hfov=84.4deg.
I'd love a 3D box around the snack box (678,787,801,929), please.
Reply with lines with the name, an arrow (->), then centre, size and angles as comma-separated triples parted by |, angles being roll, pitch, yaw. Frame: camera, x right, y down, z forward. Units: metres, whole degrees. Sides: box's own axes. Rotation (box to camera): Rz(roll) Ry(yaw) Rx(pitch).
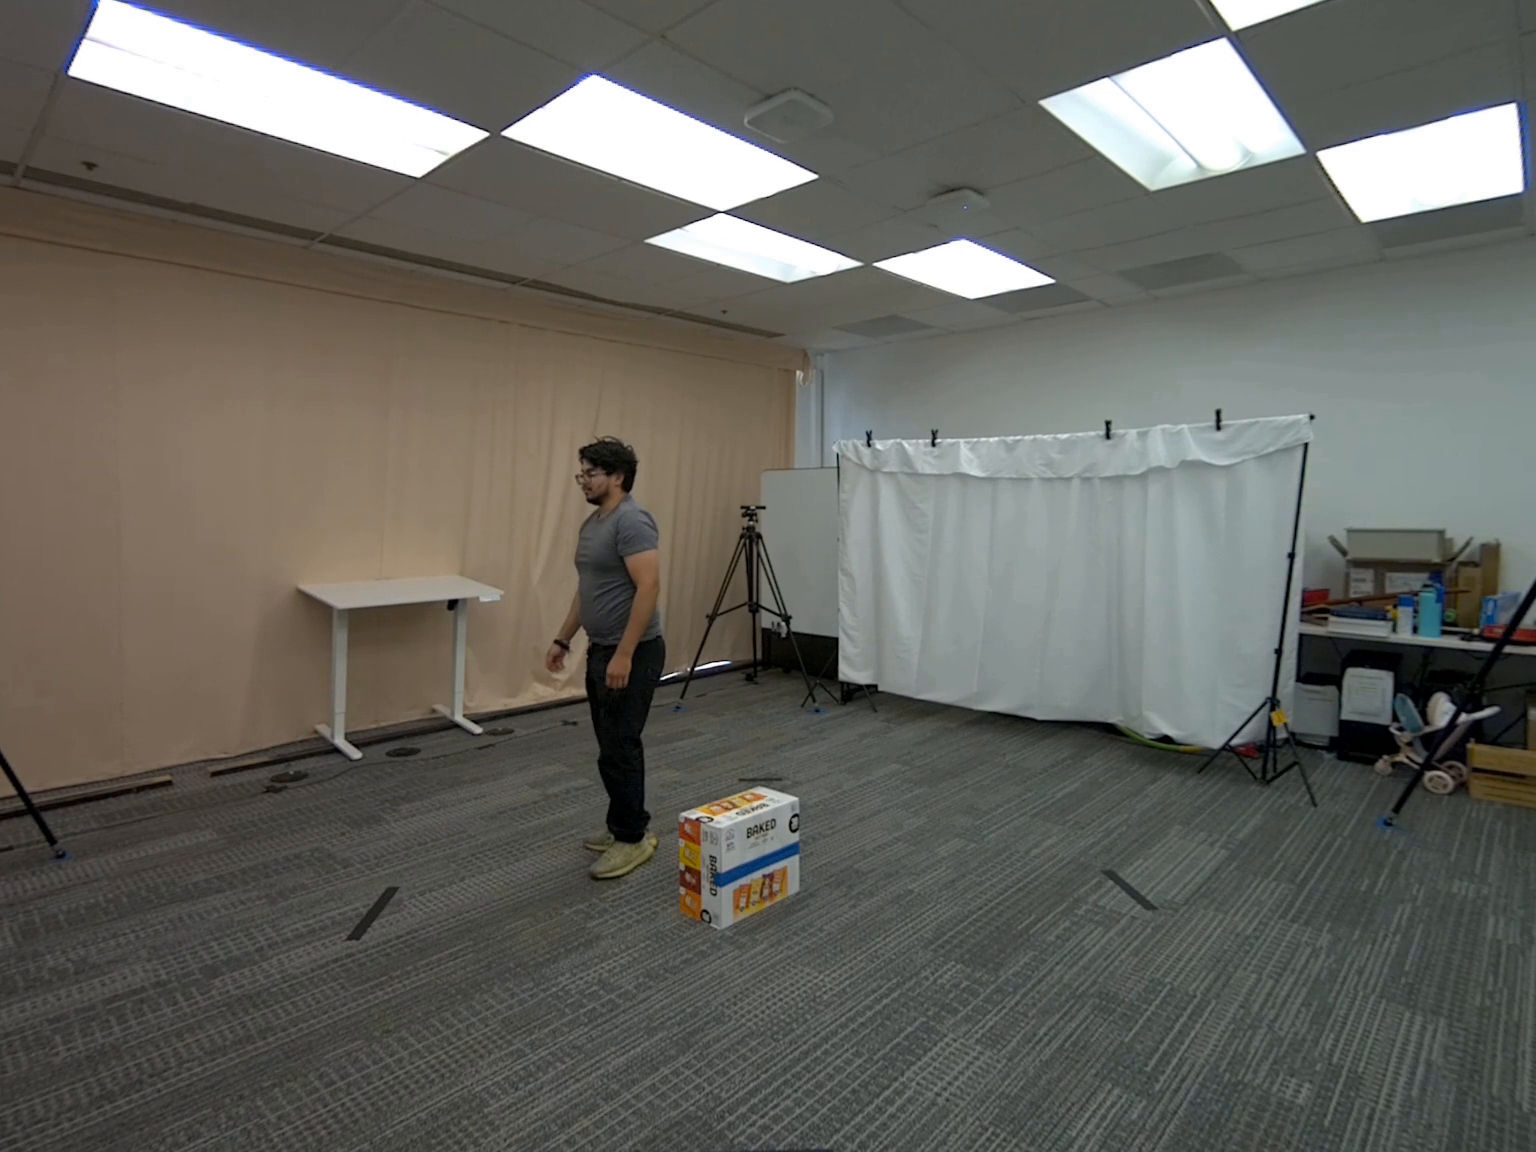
snack box -> -0.094, 0.976, 2.963 | 0.212, 0.340, 0.393 | 3, 4, 44
